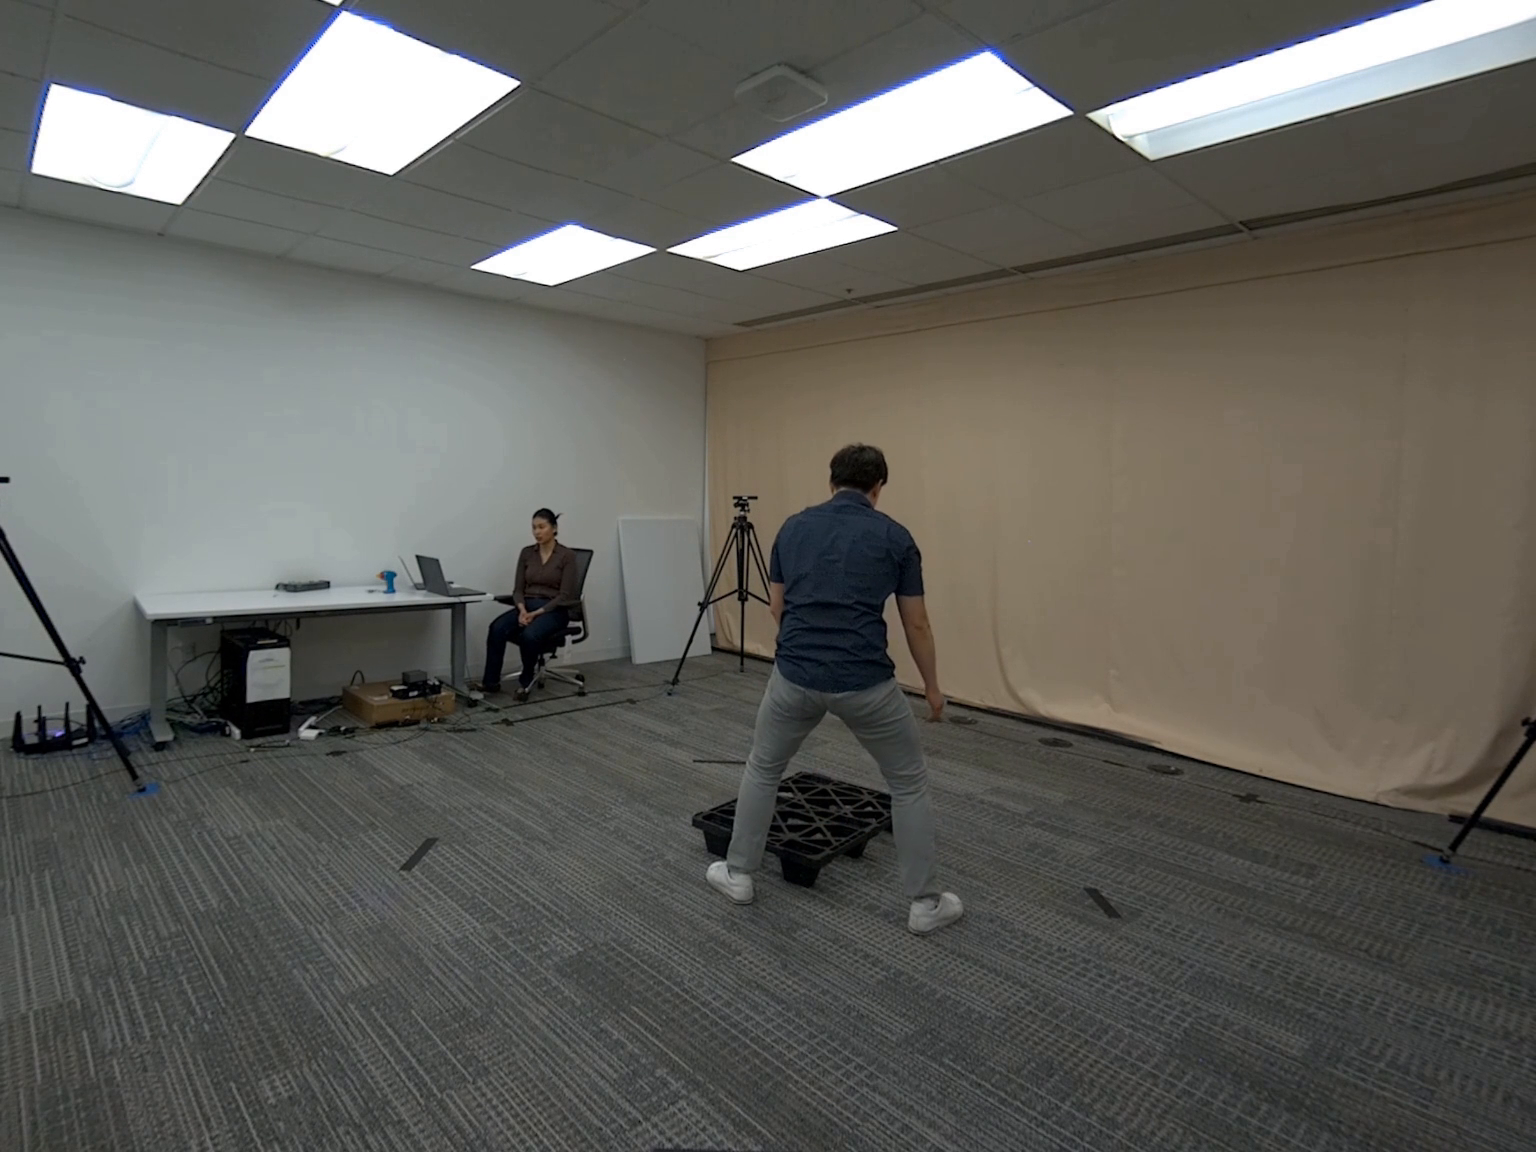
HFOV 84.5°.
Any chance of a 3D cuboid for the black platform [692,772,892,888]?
[{"bbox_3d":[0.164,1.015,3.433,0.620,0.143,0.788,6,7,37],"label":"black platform"}]
